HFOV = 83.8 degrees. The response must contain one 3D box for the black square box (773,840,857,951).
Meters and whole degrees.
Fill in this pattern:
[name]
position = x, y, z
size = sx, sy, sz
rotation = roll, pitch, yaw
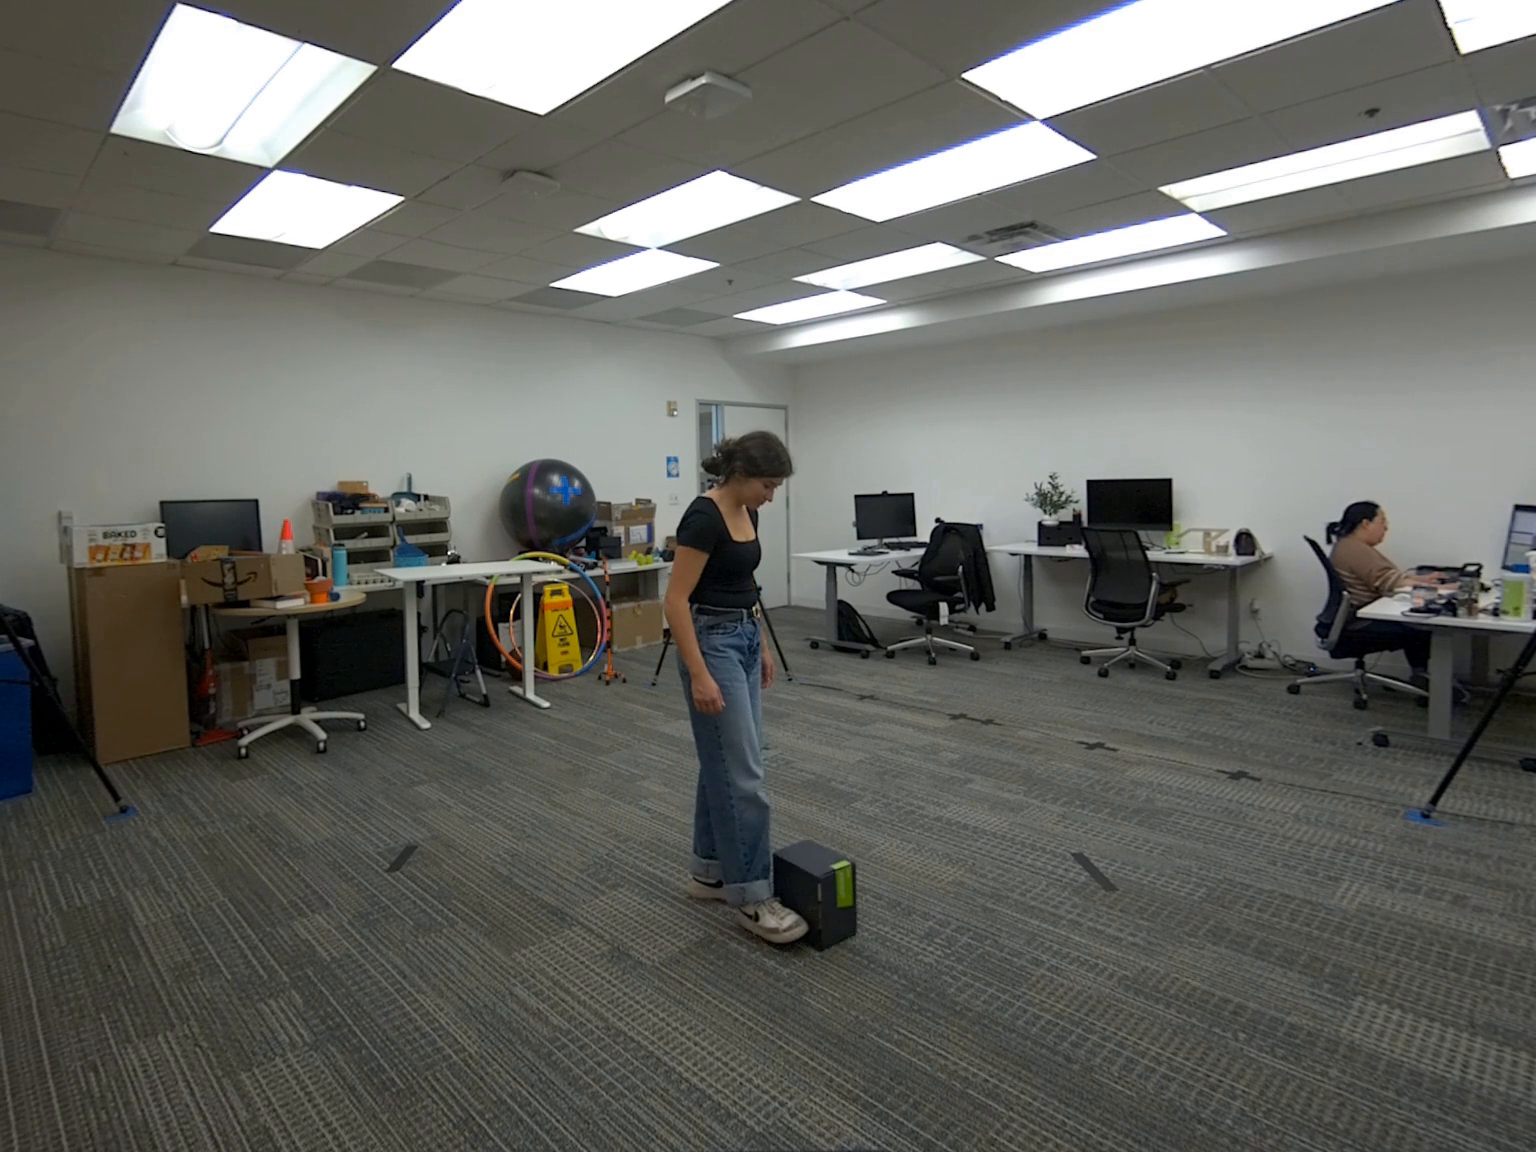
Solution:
[black square box]
position = 0.146, 0.976, 2.644
size = 0.152, 0.227, 0.224
rotation = -5, 7, -37
